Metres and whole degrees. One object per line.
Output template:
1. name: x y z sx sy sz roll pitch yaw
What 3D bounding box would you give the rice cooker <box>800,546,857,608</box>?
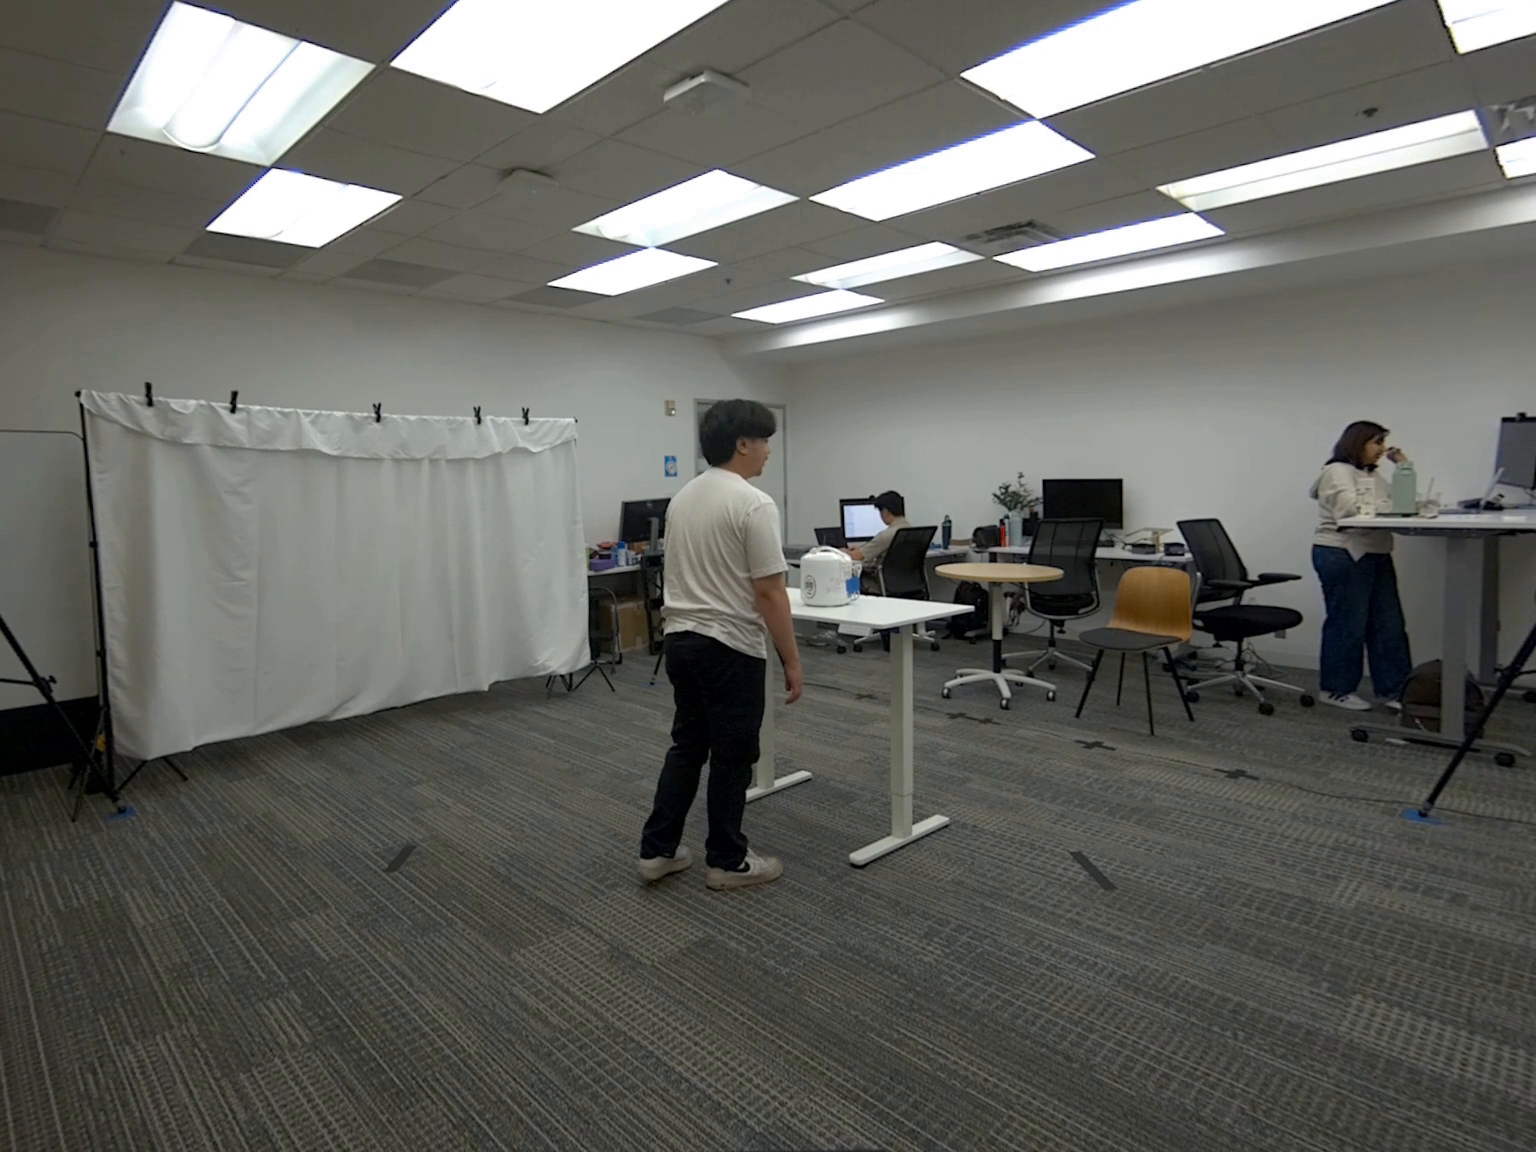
1. rice cooker: 0.241 -0.001 3.441 0.227 0.232 0.211 3 5 44
